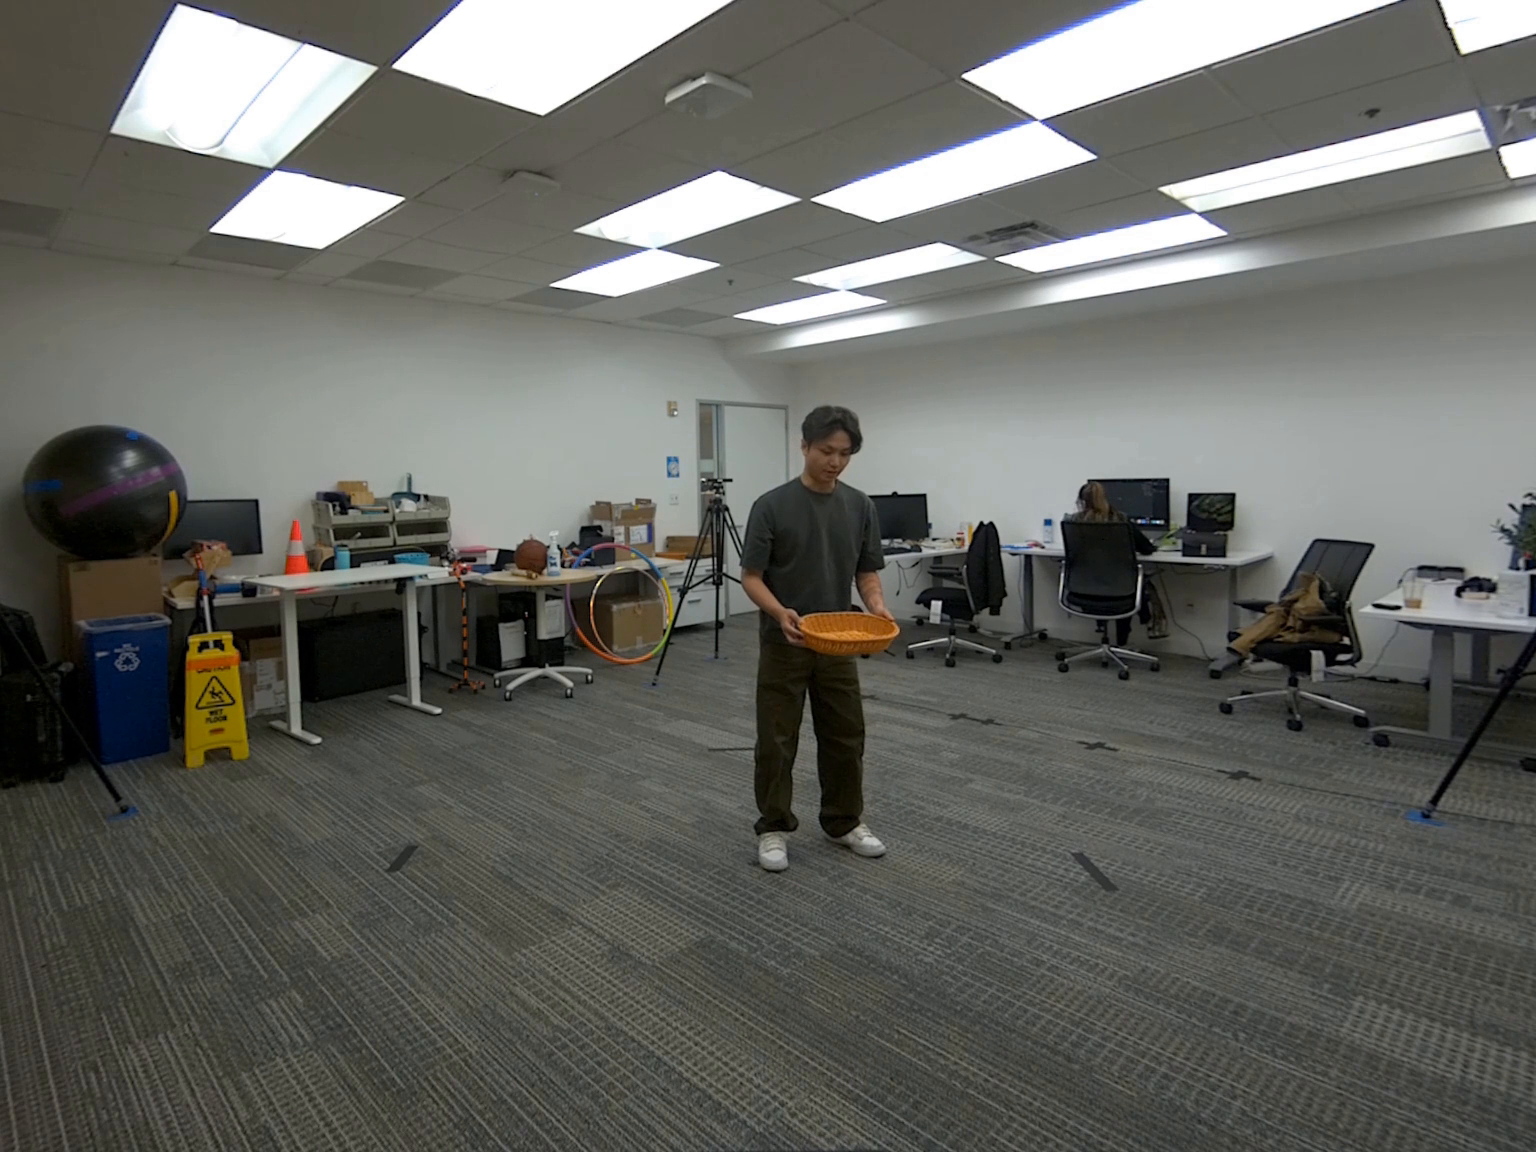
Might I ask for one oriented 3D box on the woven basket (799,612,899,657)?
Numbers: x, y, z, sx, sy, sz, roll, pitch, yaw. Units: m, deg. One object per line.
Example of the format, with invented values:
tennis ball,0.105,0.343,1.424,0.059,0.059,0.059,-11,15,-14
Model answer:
woven basket,0.257,0.197,2.836,0.346,0.072,0.259,-1,17,-14
